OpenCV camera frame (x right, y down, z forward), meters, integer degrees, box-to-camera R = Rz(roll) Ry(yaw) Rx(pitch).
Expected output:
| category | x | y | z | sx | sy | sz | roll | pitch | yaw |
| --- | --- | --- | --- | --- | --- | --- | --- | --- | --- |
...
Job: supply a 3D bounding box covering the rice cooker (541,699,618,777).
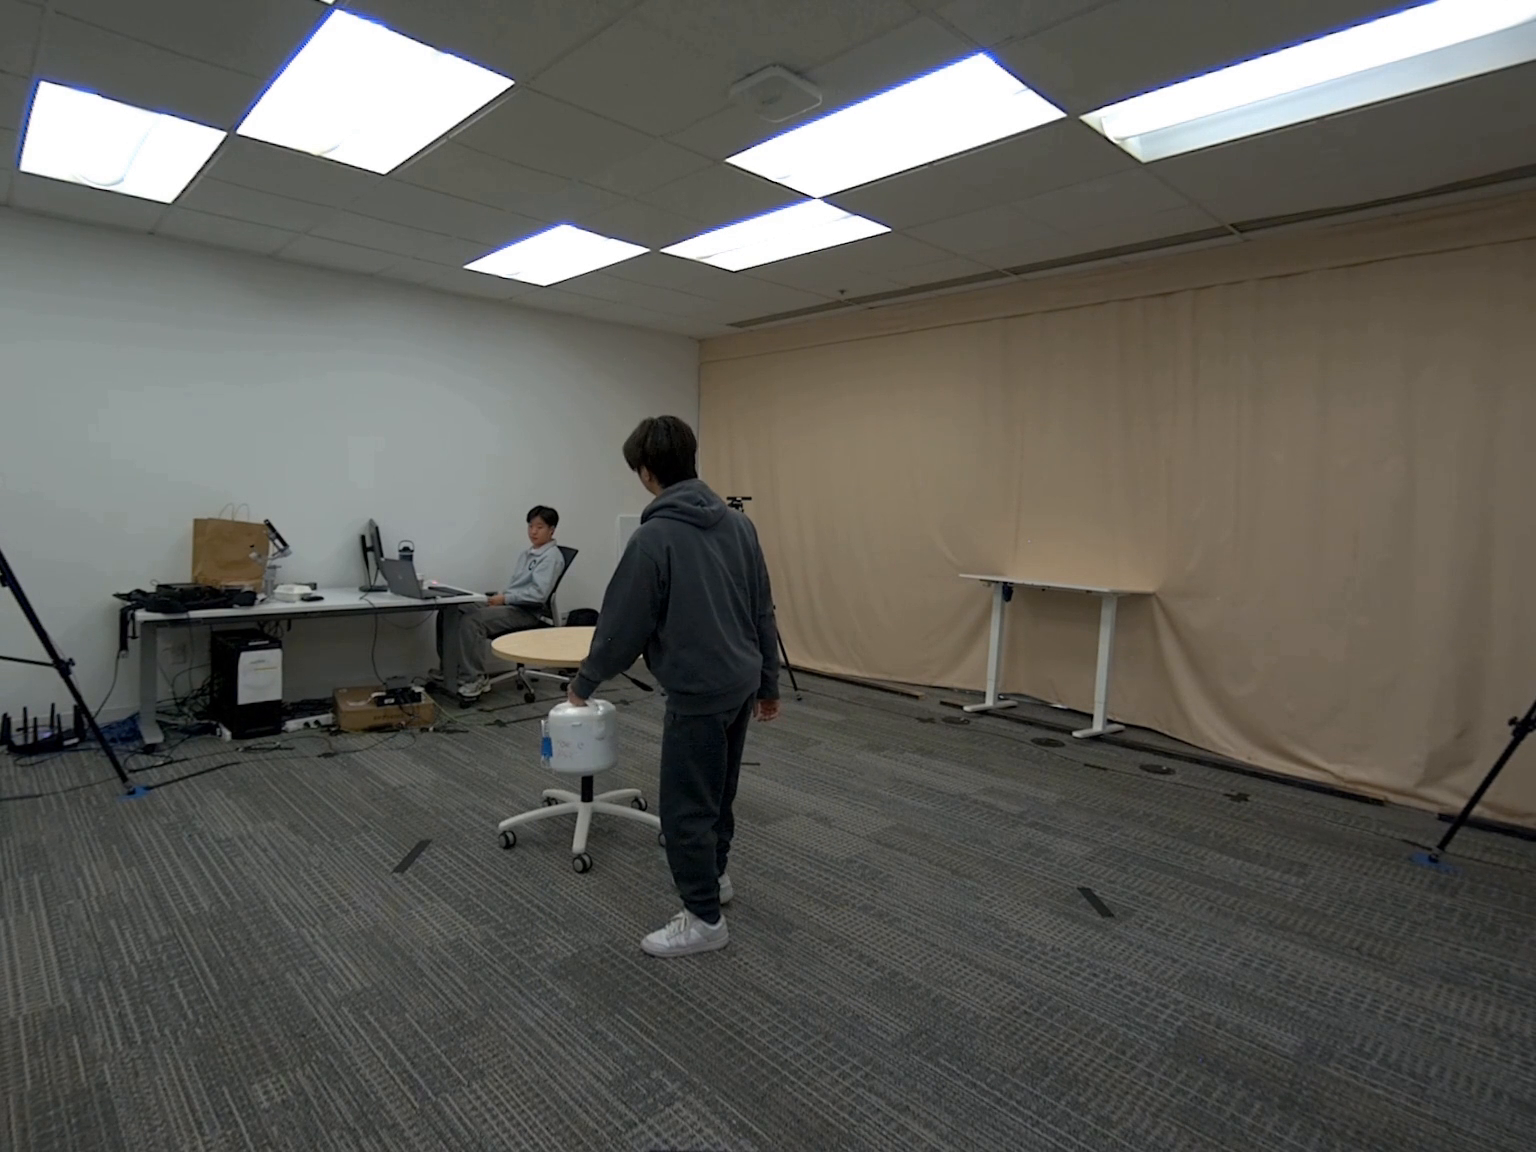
| category | x | y | z | sx | sy | sz | roll | pitch | yaw |
| --- | --- | --- | --- | --- | --- | --- | --- | --- | --- |
| rice cooker | -0.576 | 0.485 | 2.603 | 0.212 | 0.233 | 0.225 | -3 | 0 | -40 |
